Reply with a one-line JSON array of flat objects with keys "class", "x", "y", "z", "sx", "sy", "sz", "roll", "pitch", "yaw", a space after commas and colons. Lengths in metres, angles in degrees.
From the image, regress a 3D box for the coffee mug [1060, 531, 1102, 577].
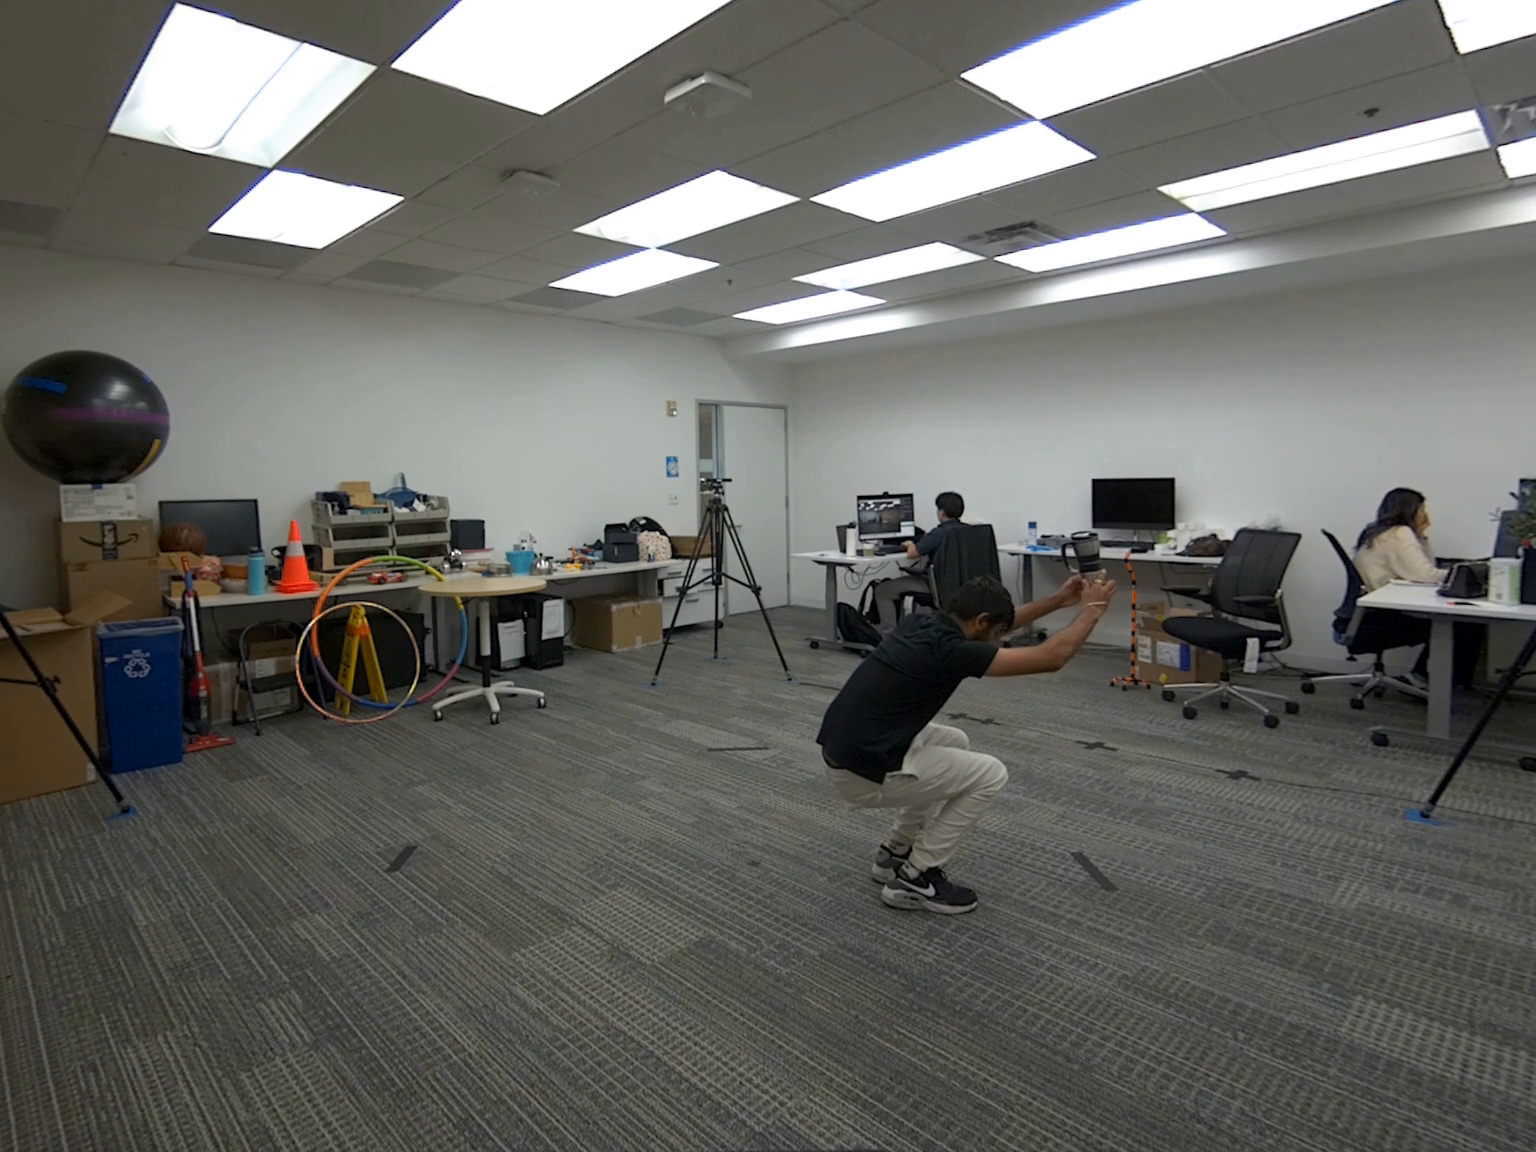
[{"class": "coffee mug", "x": 1.079, "y": -0.038, "z": 2.925, "sx": 0.086, "sy": 0.201, "sz": 0.125, "roll": -19, "pitch": 13, "yaw": -42}]
